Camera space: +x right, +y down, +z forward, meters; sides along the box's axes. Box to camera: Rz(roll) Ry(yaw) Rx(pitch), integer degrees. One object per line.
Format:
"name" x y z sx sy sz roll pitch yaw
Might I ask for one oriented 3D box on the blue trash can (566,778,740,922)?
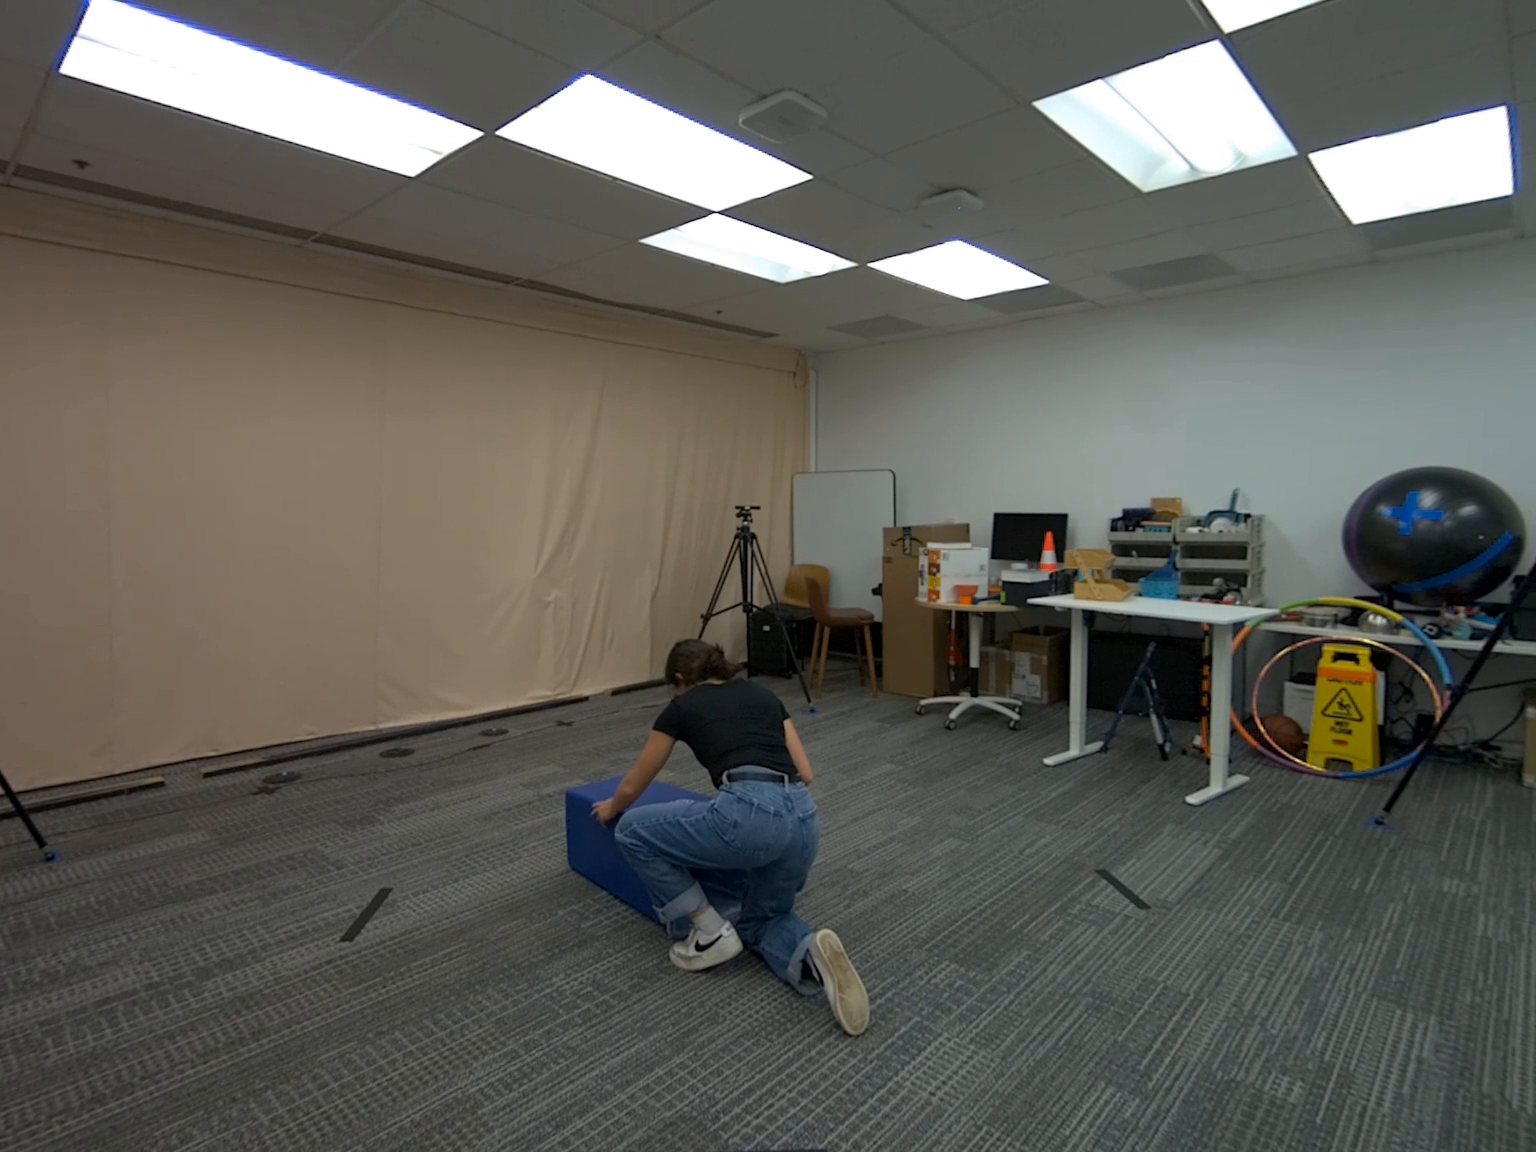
"blue trash can" -0.430 0.978 3.069 0.363 0.378 0.736 -4 3 -43
